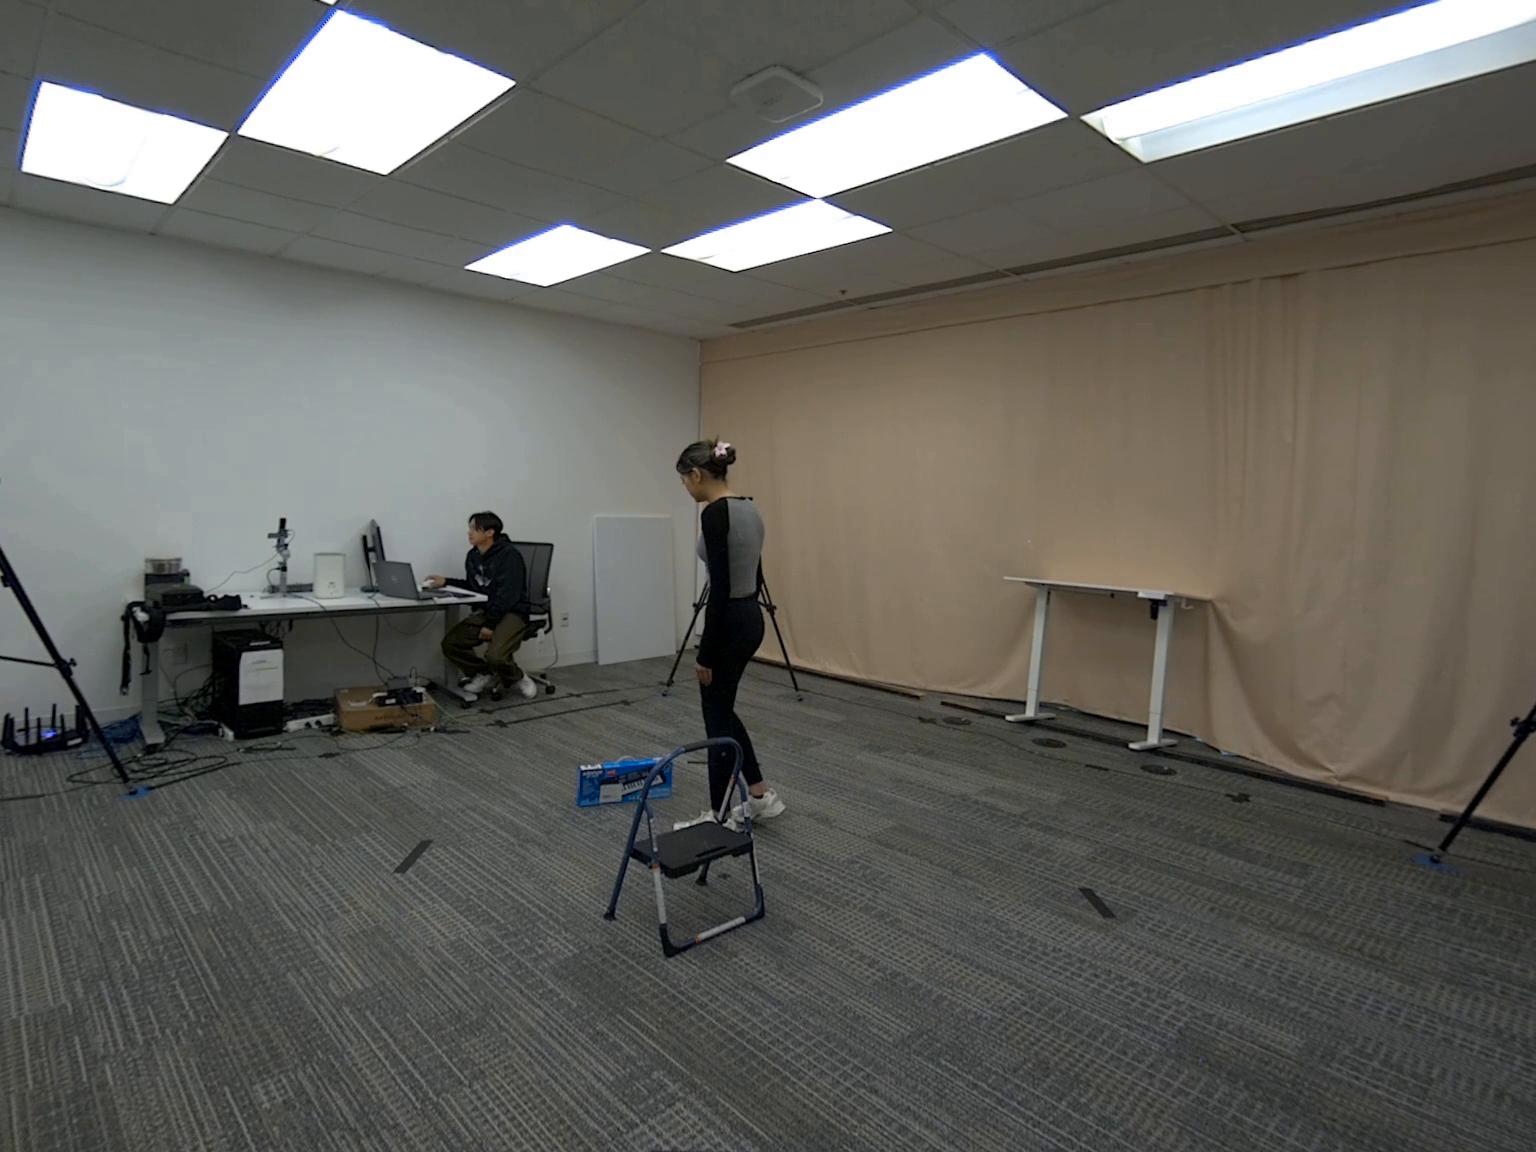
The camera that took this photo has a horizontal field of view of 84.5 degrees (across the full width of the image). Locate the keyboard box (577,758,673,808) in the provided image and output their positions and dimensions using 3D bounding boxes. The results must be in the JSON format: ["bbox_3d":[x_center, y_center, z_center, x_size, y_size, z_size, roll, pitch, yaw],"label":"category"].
[{"bbox_3d":[-0.666,0.944,3.859,0.429,0.175,0.060,0,8,-24],"label":"keyboard box"}]
